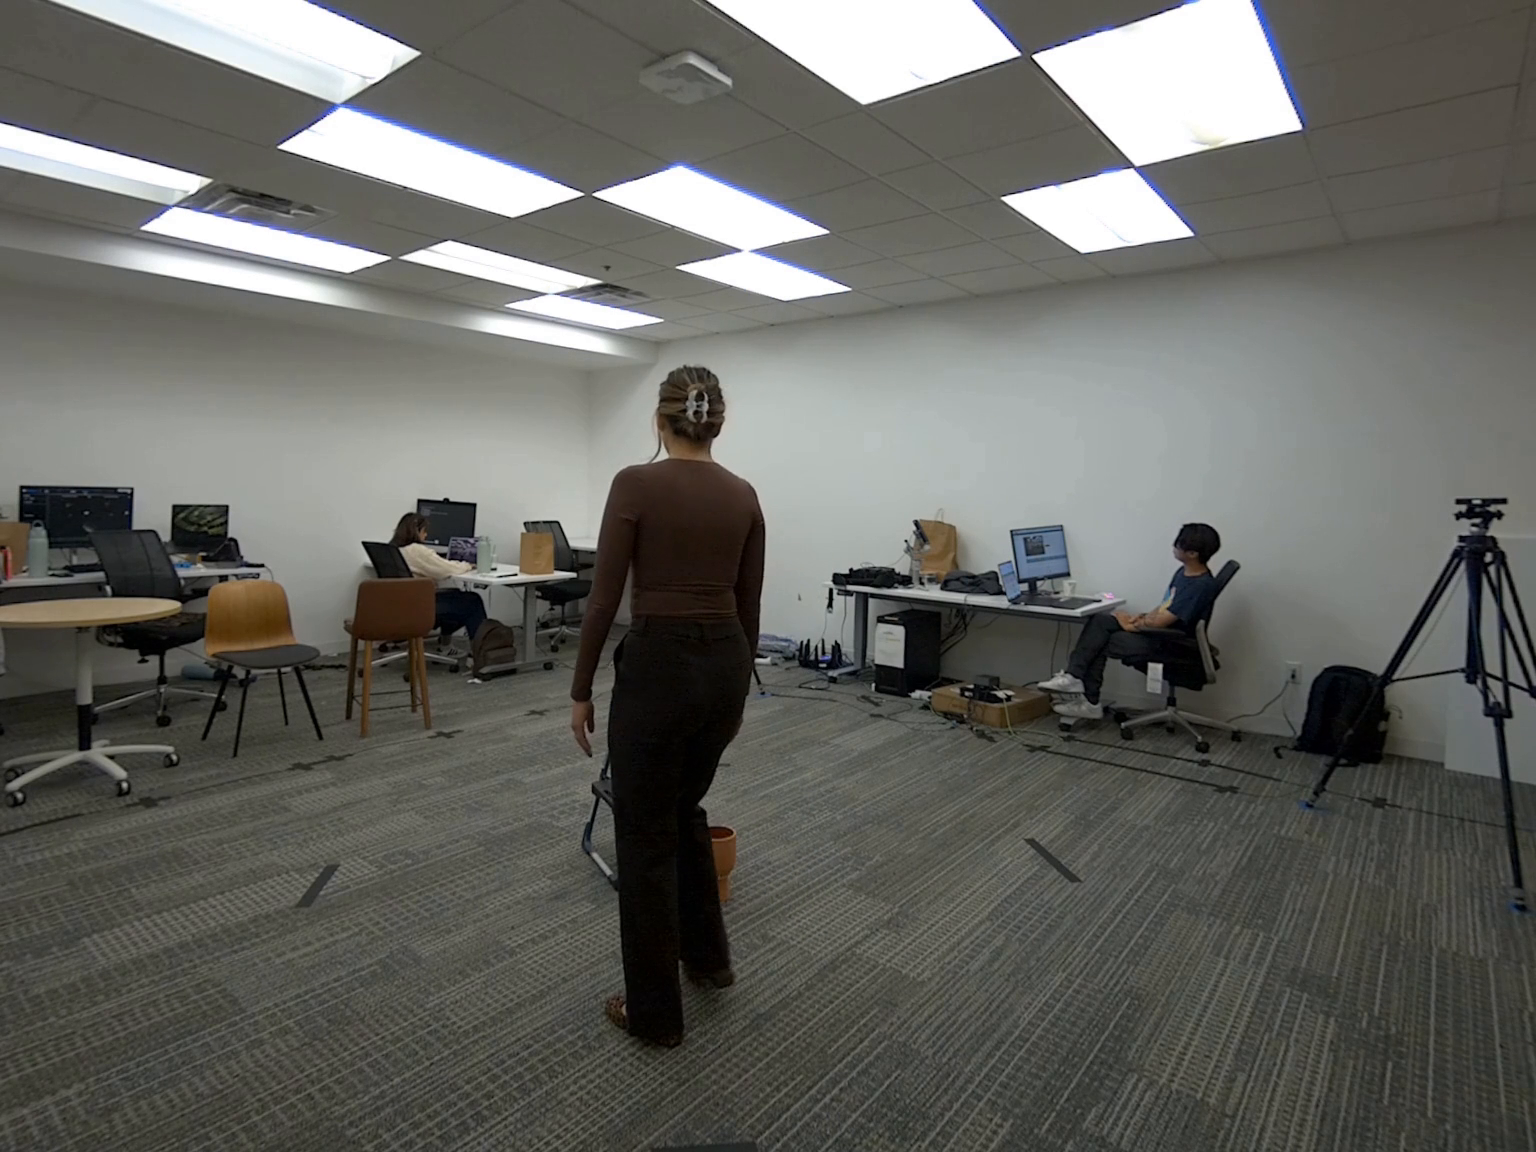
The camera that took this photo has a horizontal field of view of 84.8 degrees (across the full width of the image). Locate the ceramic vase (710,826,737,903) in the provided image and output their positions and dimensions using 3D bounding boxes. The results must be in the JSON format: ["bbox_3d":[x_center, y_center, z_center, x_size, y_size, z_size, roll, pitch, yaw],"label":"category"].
[{"bbox_3d":[-0.182,0.974,2.902,0.156,0.219,0.137,0,3,-17],"label":"ceramic vase"}]
